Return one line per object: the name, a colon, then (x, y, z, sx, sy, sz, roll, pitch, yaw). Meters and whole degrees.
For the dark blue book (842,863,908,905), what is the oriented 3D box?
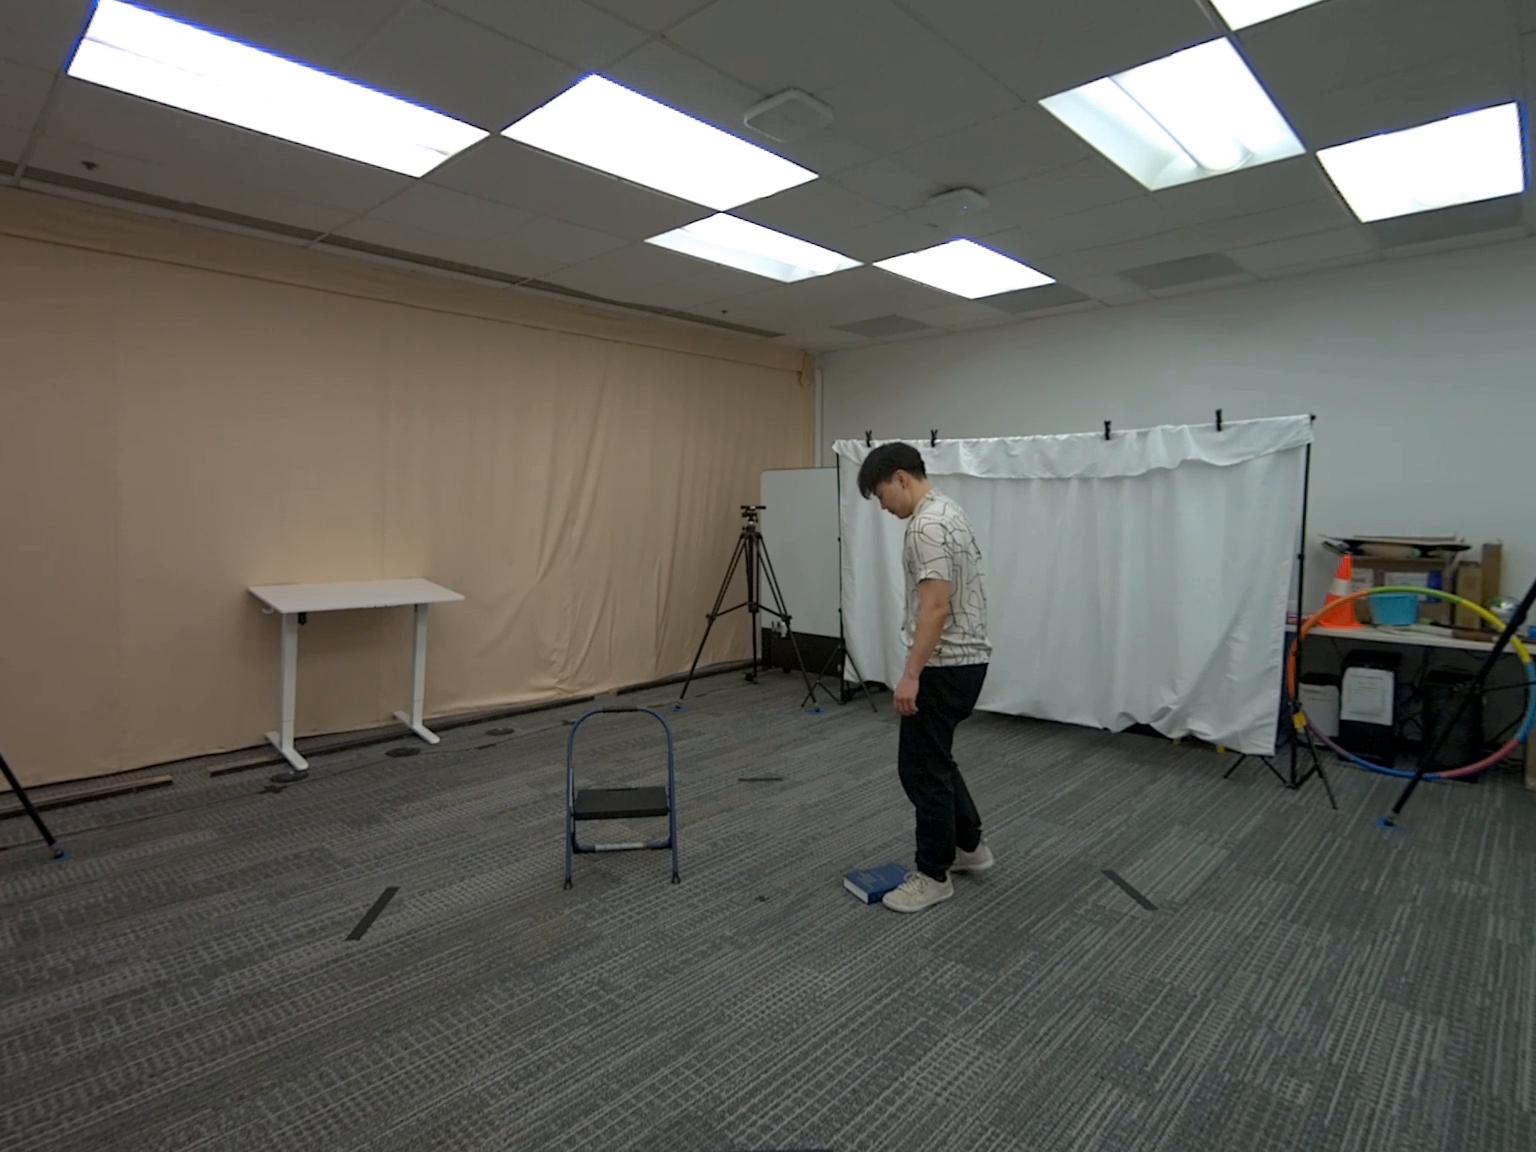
dark blue book: (0.419, 1.117, 3.052, 0.239, 0.045, 0.168, -3, 5, -26)
